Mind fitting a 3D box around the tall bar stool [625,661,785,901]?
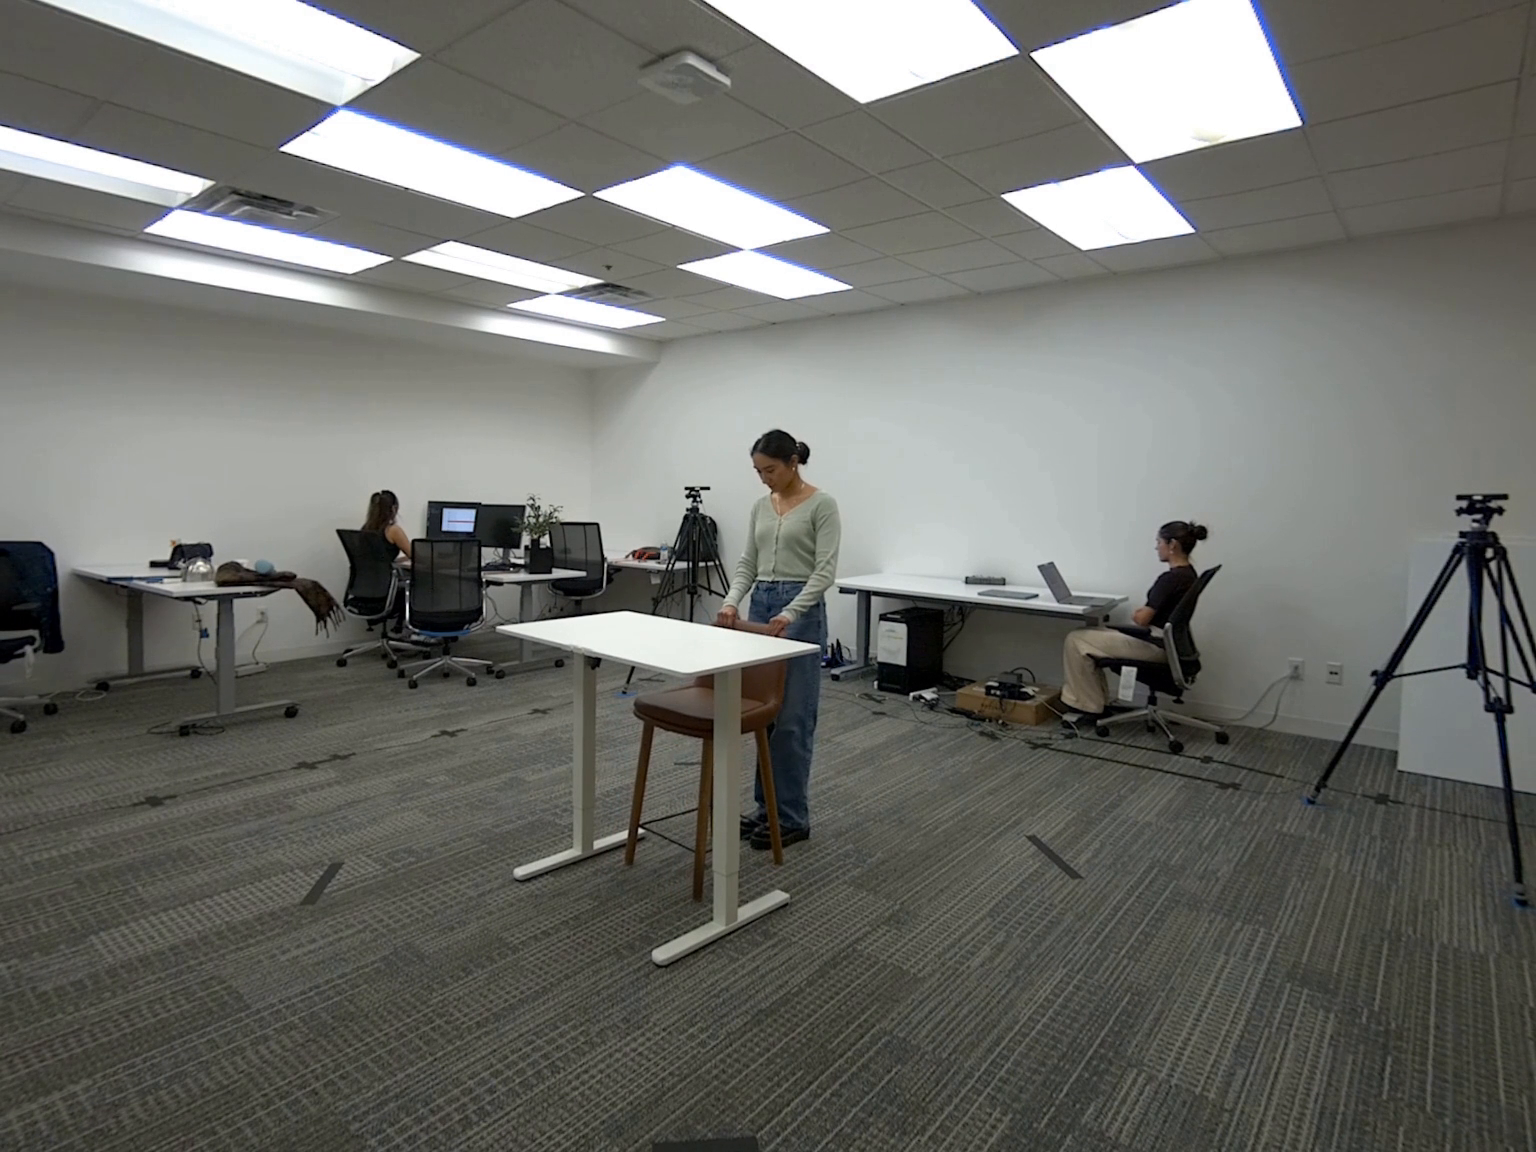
[{"bbox_3d":[-0.222,0.624,3.131,0.452,0.890,0.472,2,1,-44],"label":"tall bar stool"}]
